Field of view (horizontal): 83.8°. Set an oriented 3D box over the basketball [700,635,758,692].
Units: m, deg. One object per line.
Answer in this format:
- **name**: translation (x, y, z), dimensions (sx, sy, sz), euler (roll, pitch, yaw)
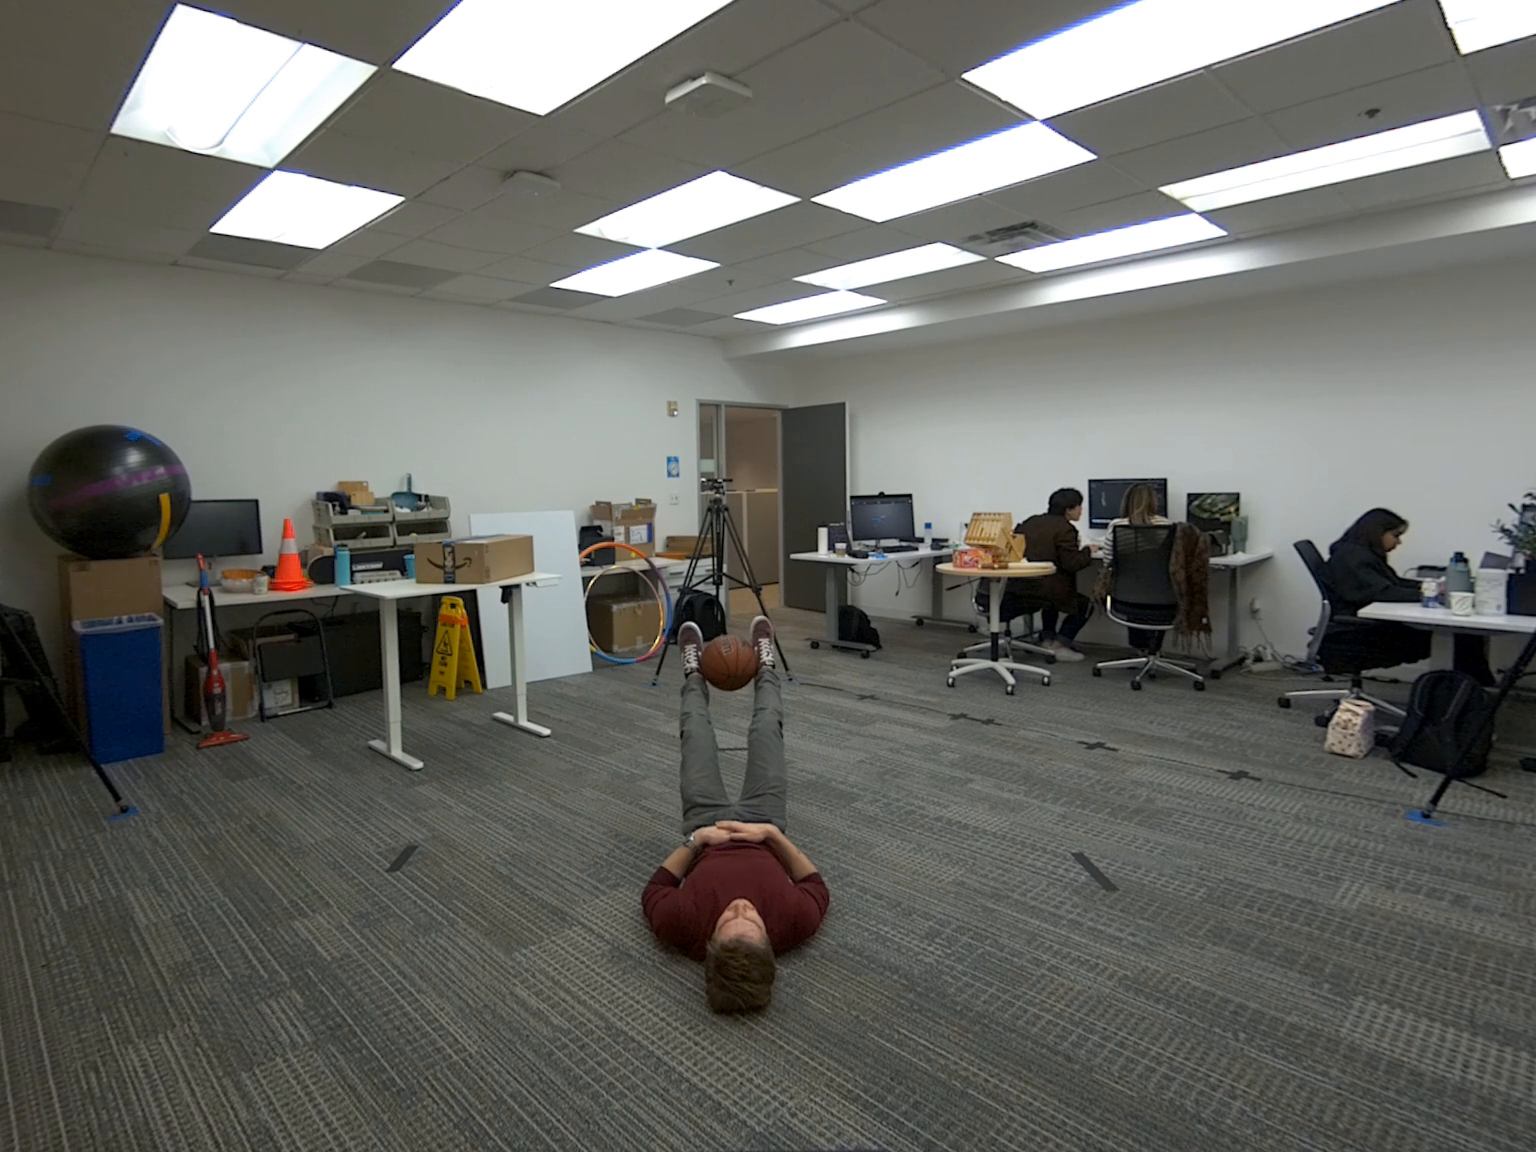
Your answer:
- **basketball**: translation (-0.158, 0.366, 3.643), dimensions (0.236, 0.236, 0.236), euler (0, 1, -2)
